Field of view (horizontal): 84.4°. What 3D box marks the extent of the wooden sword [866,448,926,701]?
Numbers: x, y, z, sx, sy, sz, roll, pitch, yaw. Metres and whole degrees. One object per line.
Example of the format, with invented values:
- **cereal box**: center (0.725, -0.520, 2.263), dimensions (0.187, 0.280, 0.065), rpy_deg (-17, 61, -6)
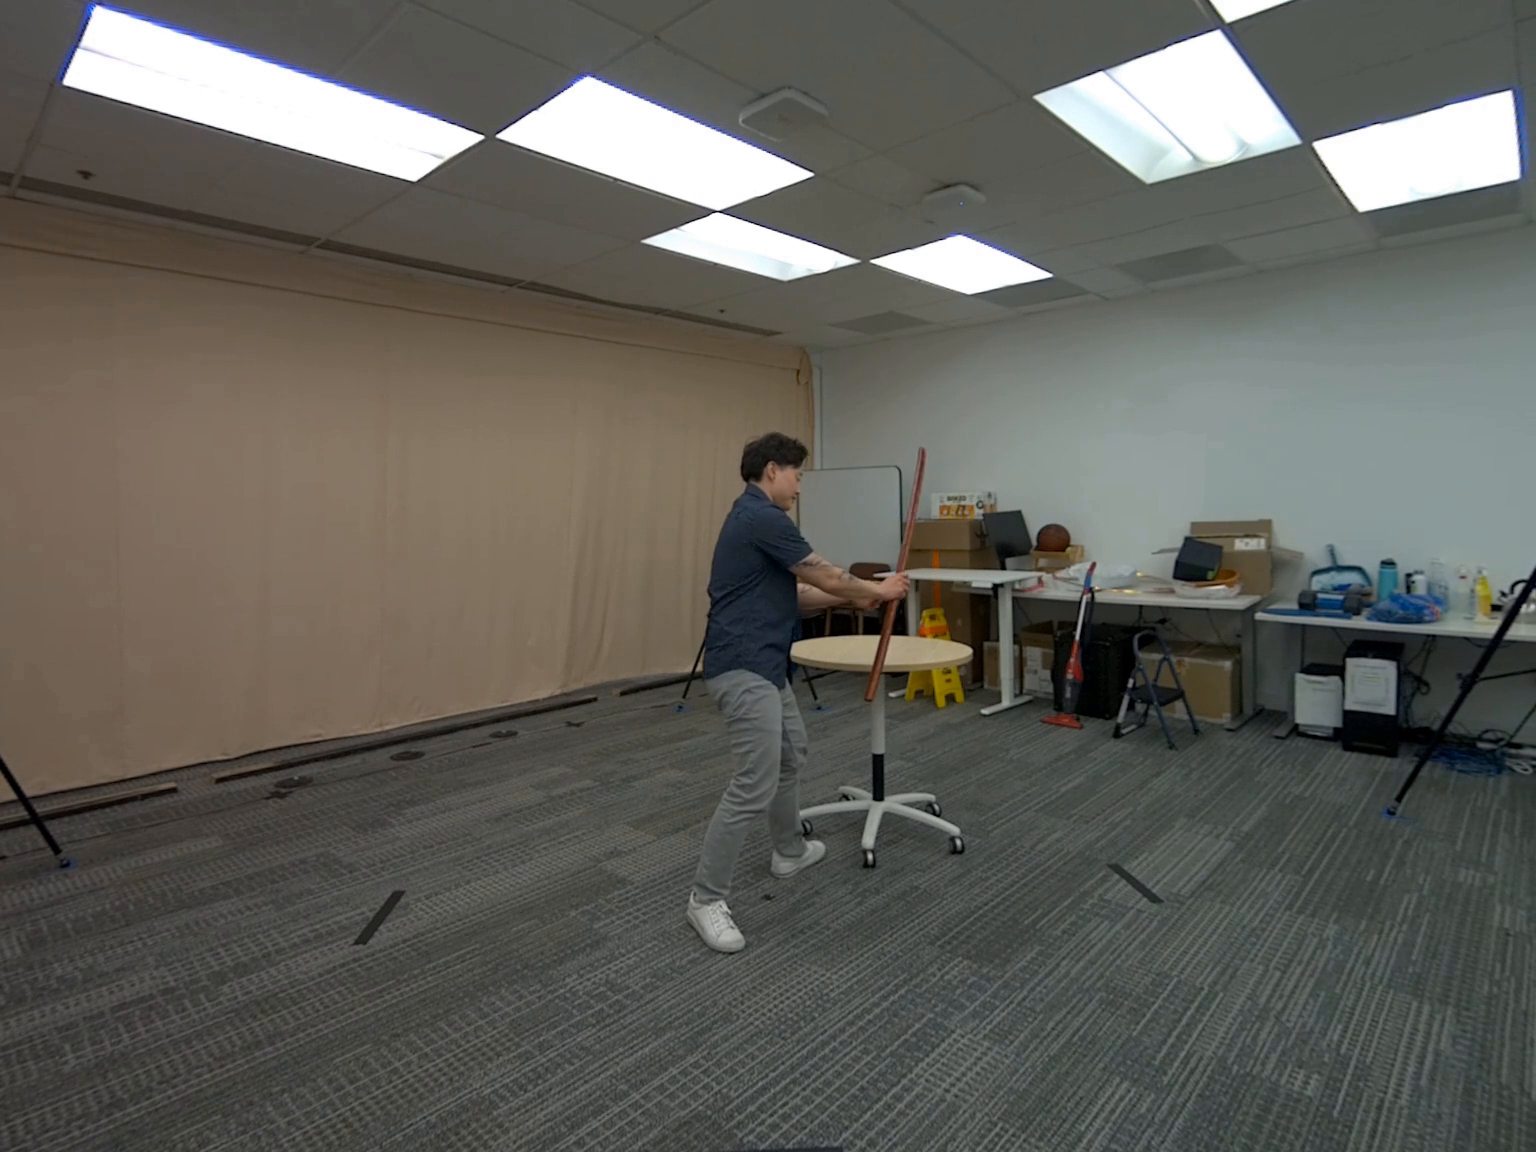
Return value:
- **wooden sword**: center (0.470, -0.022, 3.003), dimensions (0.051, 1.031, 0.024), rpy_deg (20, -24, -11)
